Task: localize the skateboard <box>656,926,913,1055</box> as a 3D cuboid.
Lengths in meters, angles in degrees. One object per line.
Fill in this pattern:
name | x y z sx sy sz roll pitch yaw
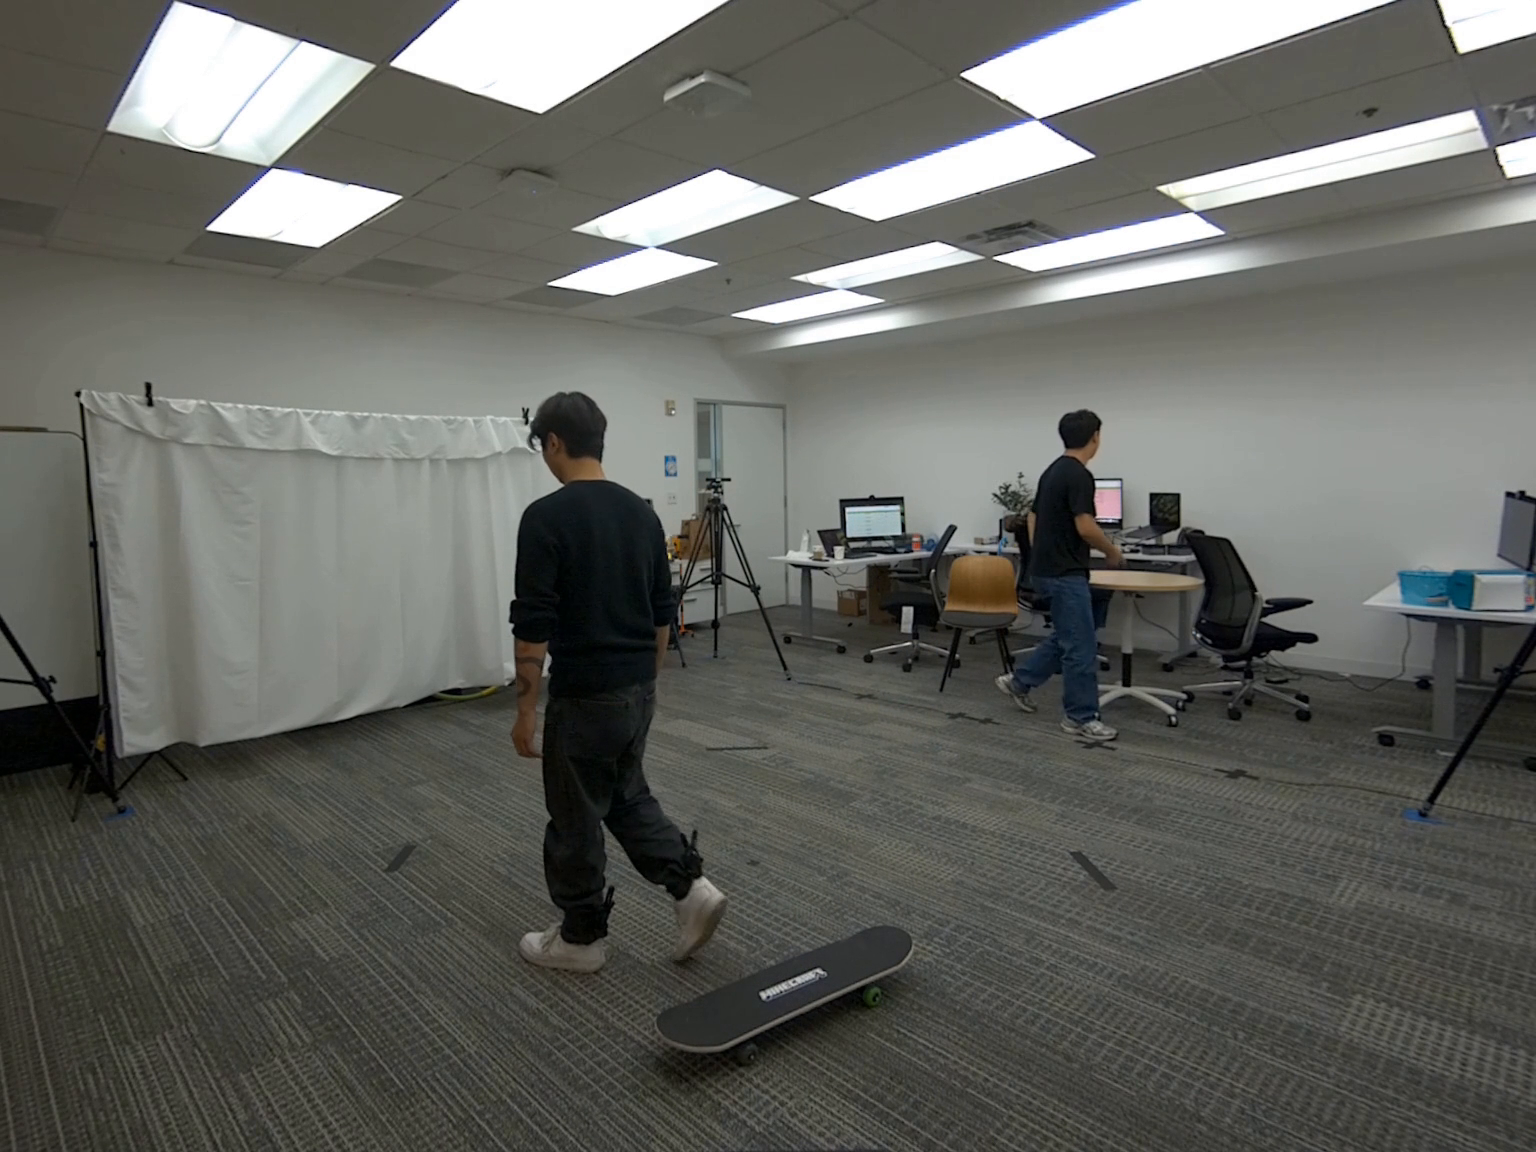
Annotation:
skateboard | 0.071 1.086 2.217 0.766 0.110 0.199 -6 8 -33
